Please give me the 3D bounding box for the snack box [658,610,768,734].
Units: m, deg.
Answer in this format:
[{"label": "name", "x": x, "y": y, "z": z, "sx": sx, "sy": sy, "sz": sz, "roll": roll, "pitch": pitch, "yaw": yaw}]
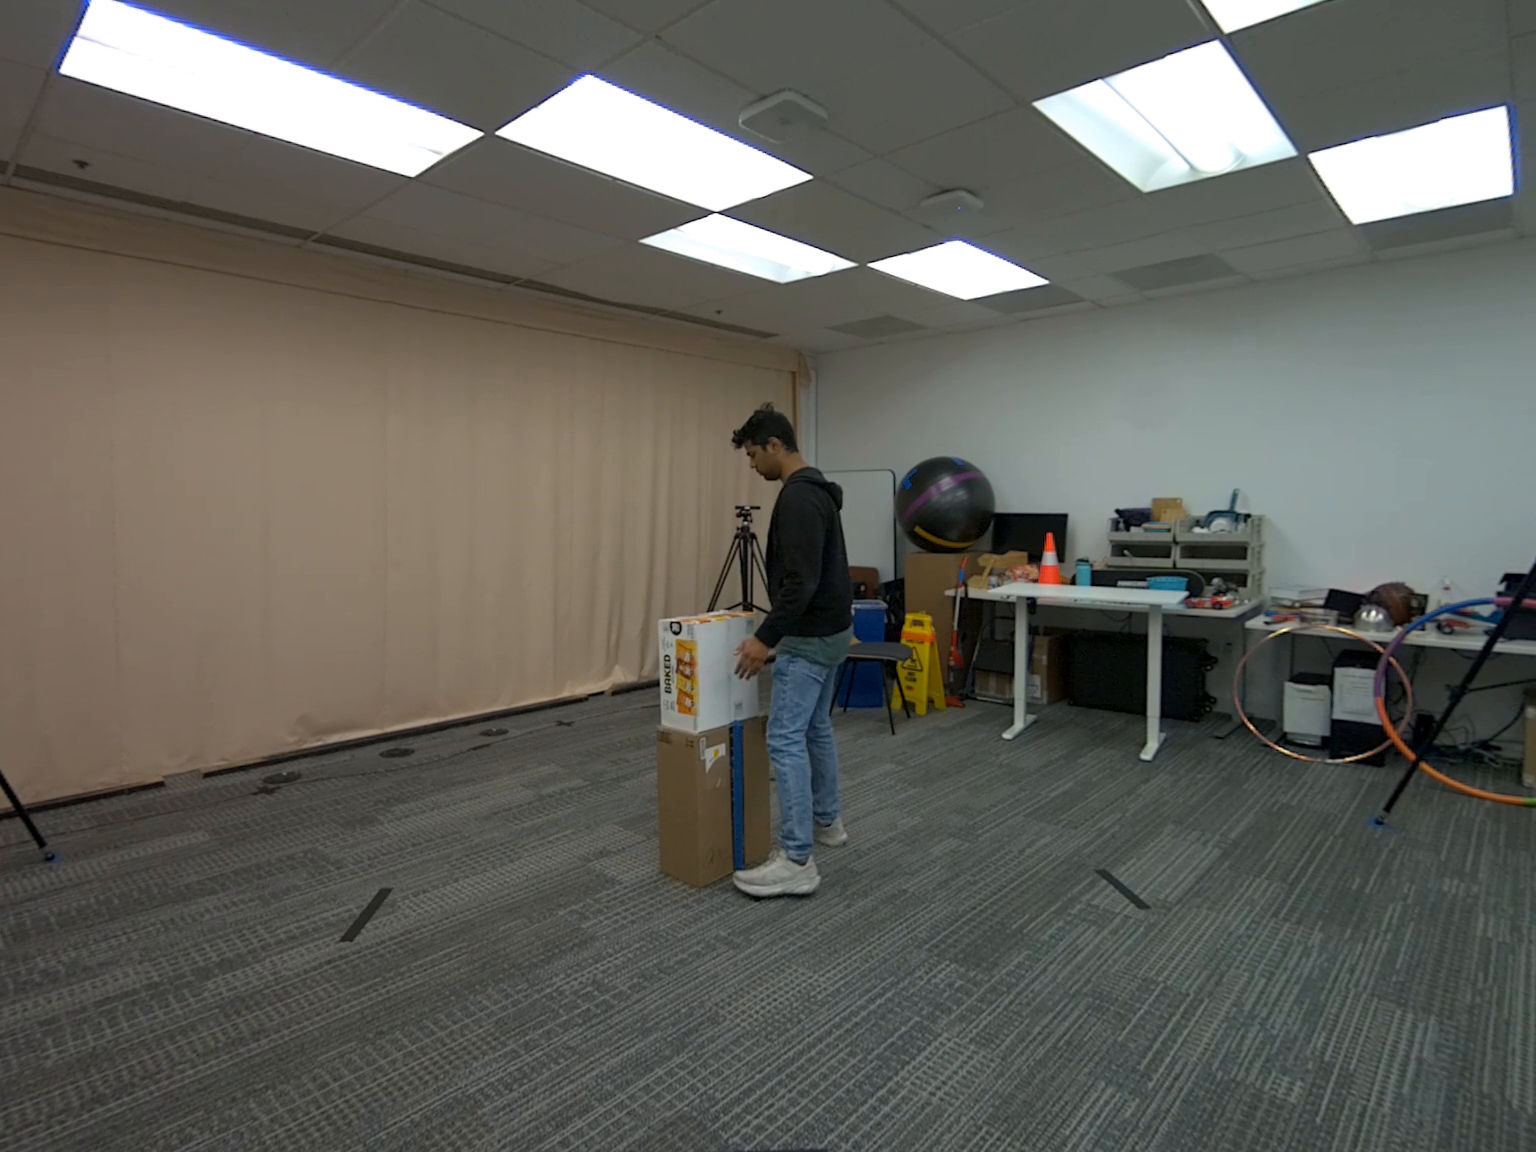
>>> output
[{"label": "snack box", "x": -0.218, "y": 0.358, "z": 3.245, "sx": 0.212, "sy": 0.404, "sz": 0.330, "roll": 0, "pitch": 3, "yaw": 43}]
